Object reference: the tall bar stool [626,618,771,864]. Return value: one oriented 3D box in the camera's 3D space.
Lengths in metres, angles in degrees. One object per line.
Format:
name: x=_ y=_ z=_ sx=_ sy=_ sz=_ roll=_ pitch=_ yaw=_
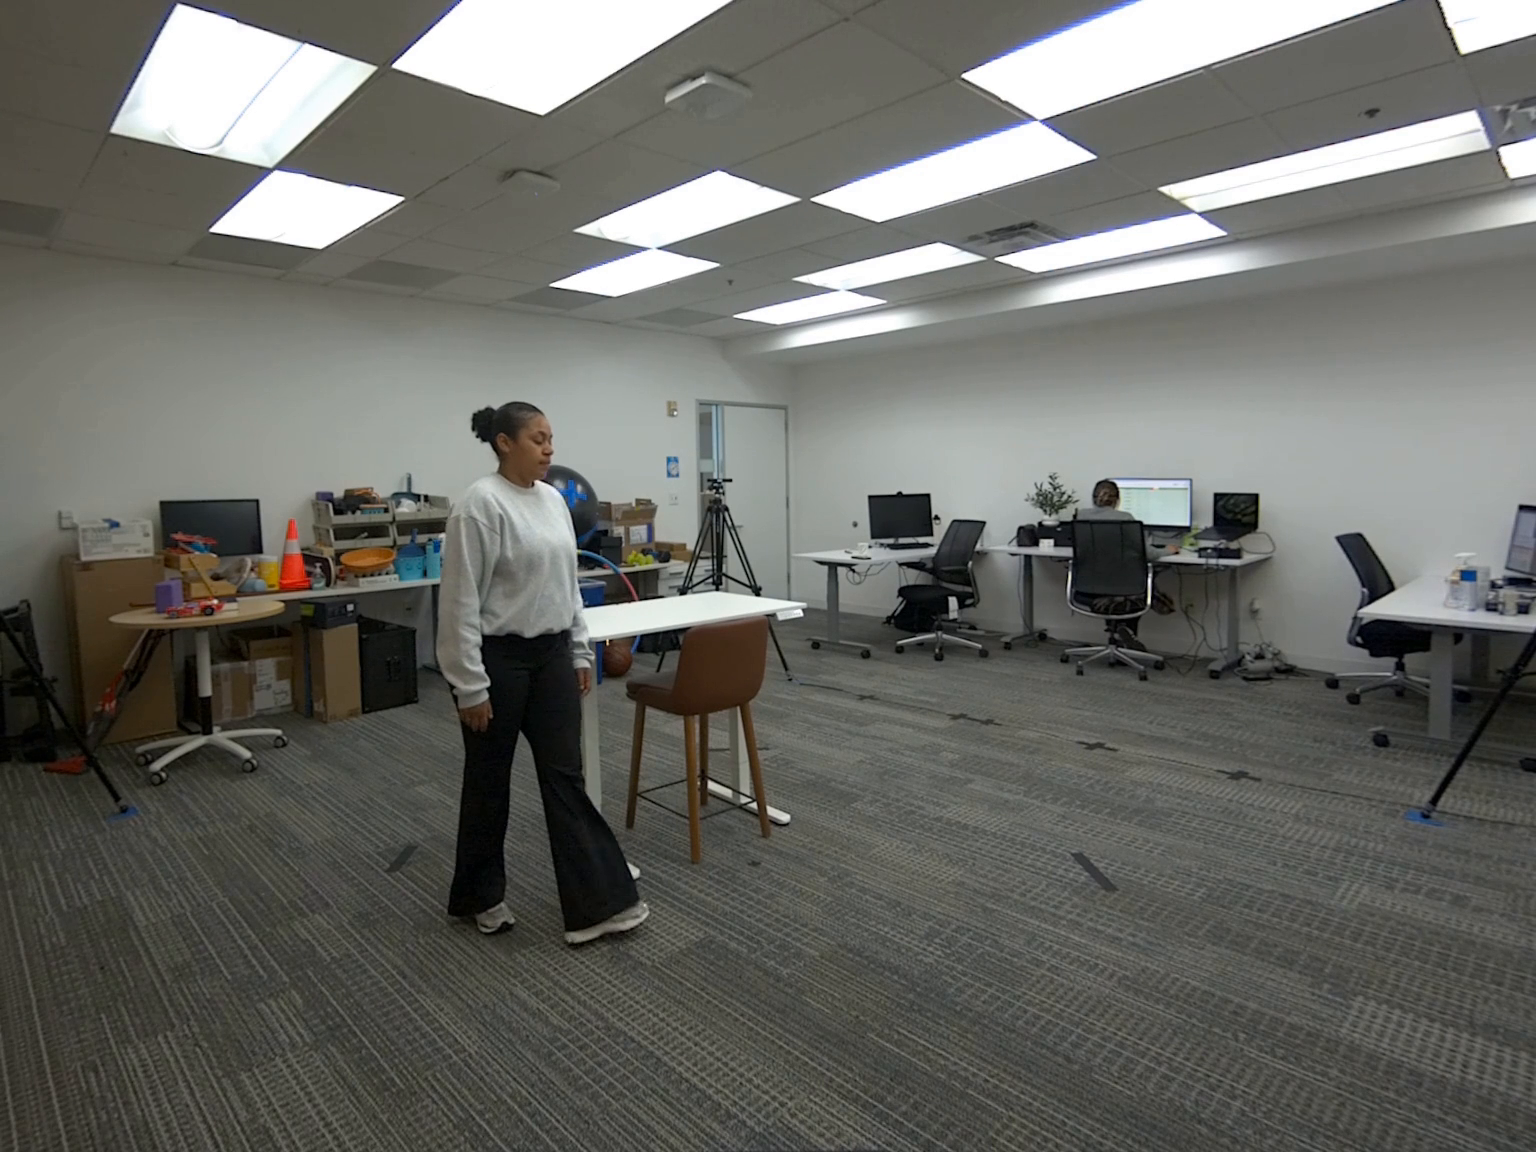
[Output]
tall bar stool: x=-0.276 y=0.586 z=3.370 sx=0.444 sy=0.886 sz=0.482 roll=-4 pitch=7 yaw=-41
